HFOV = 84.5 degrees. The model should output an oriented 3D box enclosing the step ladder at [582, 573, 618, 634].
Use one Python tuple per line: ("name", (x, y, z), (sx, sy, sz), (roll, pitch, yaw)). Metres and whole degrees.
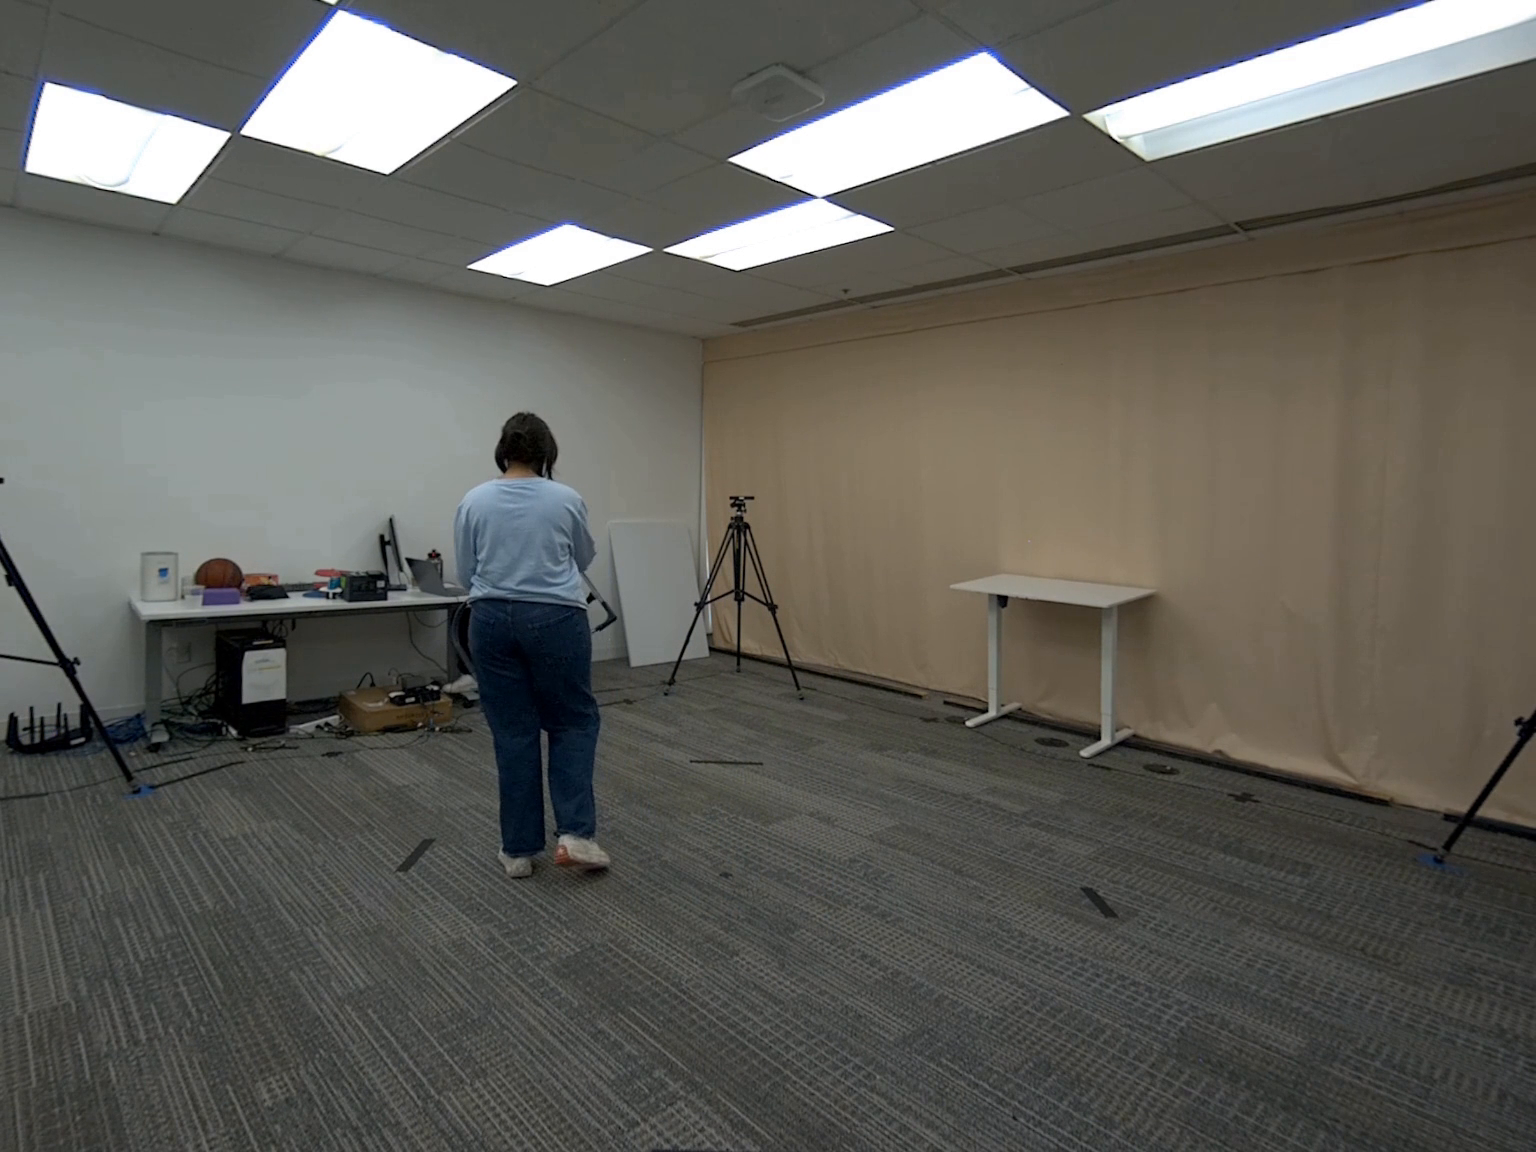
("step ladder", (-0.999, 0.152, 3.389), (0.605, 0.440, 0.342), (-36, -22, -4))
